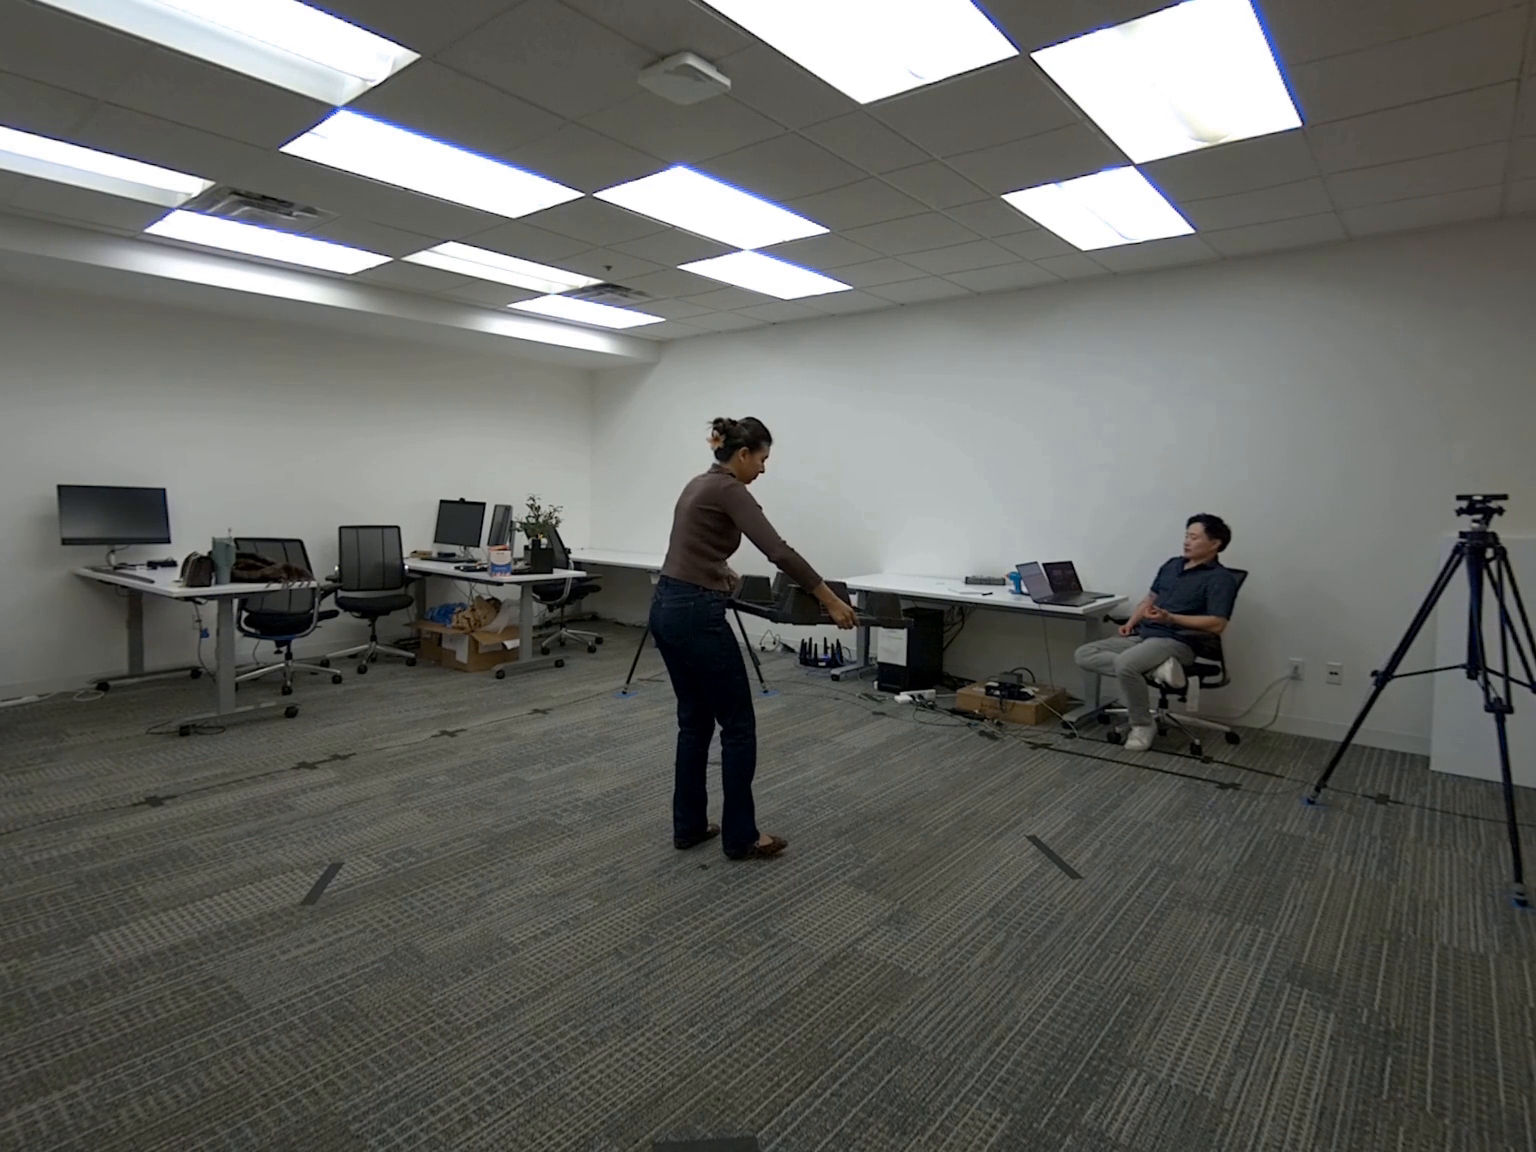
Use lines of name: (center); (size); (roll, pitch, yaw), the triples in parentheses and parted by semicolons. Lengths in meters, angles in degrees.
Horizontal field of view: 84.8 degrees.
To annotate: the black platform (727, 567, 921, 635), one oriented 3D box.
black platform: (0.108, 0.084, 3.425); (0.588, 0.143, 0.831); (4, 4, -30)
